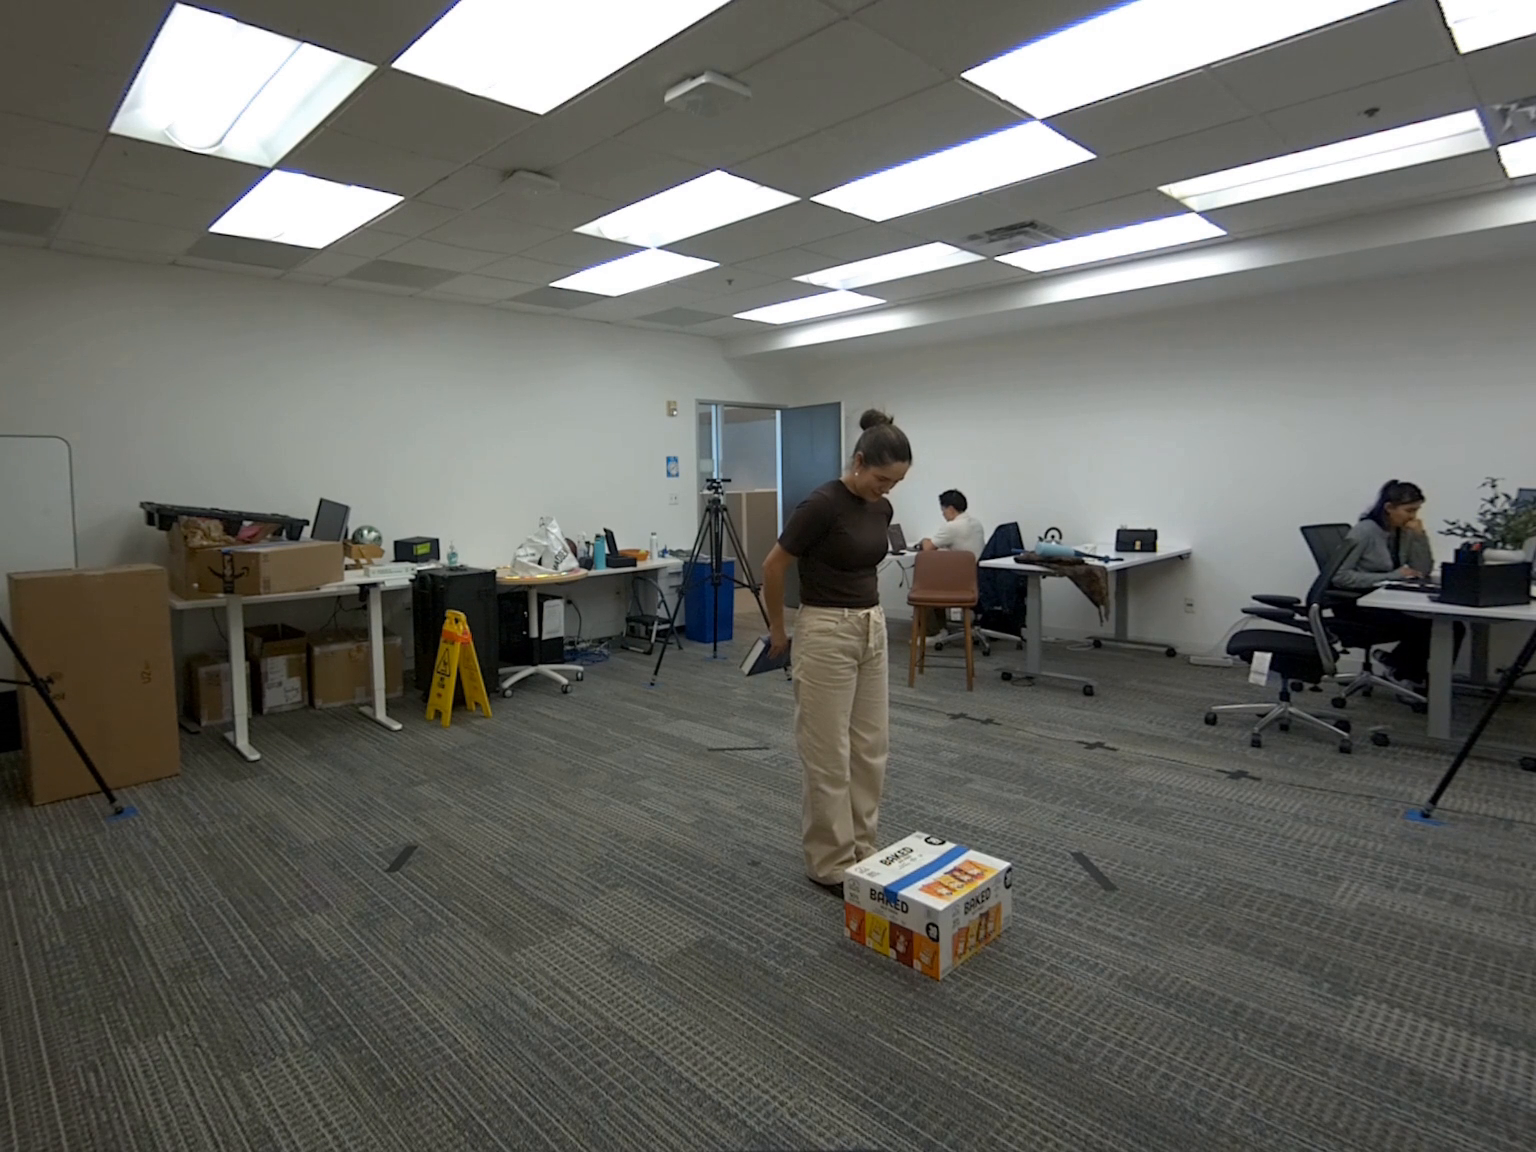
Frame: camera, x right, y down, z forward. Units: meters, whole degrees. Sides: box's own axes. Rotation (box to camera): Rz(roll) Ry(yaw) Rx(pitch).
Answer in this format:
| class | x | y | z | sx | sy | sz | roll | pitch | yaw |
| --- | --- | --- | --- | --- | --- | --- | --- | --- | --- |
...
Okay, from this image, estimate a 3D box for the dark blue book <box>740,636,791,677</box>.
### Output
| class | x | y | z | sx | sy | sz | roll | pitch | yaw |
| --- | --- | --- | --- | --- | --- | --- | --- | --- | --- |
| dark blue book | 0.025 | 0.273 | 3.076 | 0.238 | 0.162 | 0.047 | -6 | 47 | -47 |
